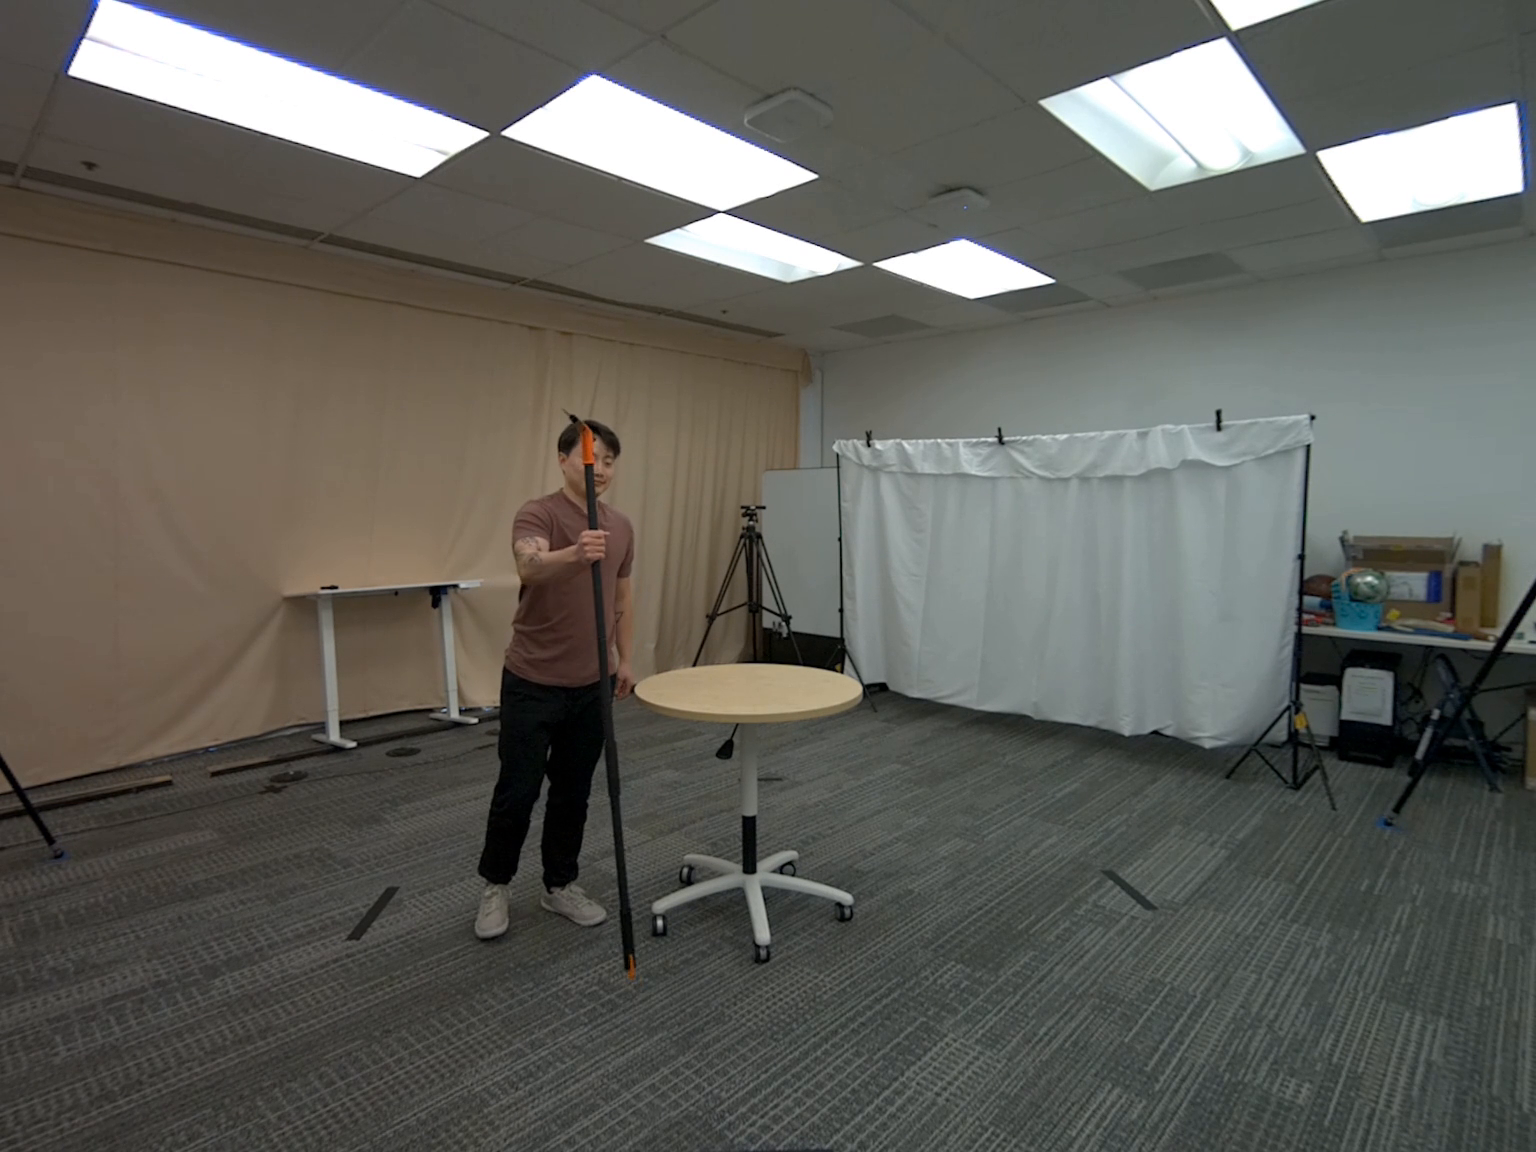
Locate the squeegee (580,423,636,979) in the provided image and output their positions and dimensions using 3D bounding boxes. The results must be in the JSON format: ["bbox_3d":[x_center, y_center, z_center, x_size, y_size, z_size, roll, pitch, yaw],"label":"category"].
[{"bbox_3d":[-0.434,0.363,2.308,0.053,1.534,0.436,-5,3,3],"label":"squeegee"}]
